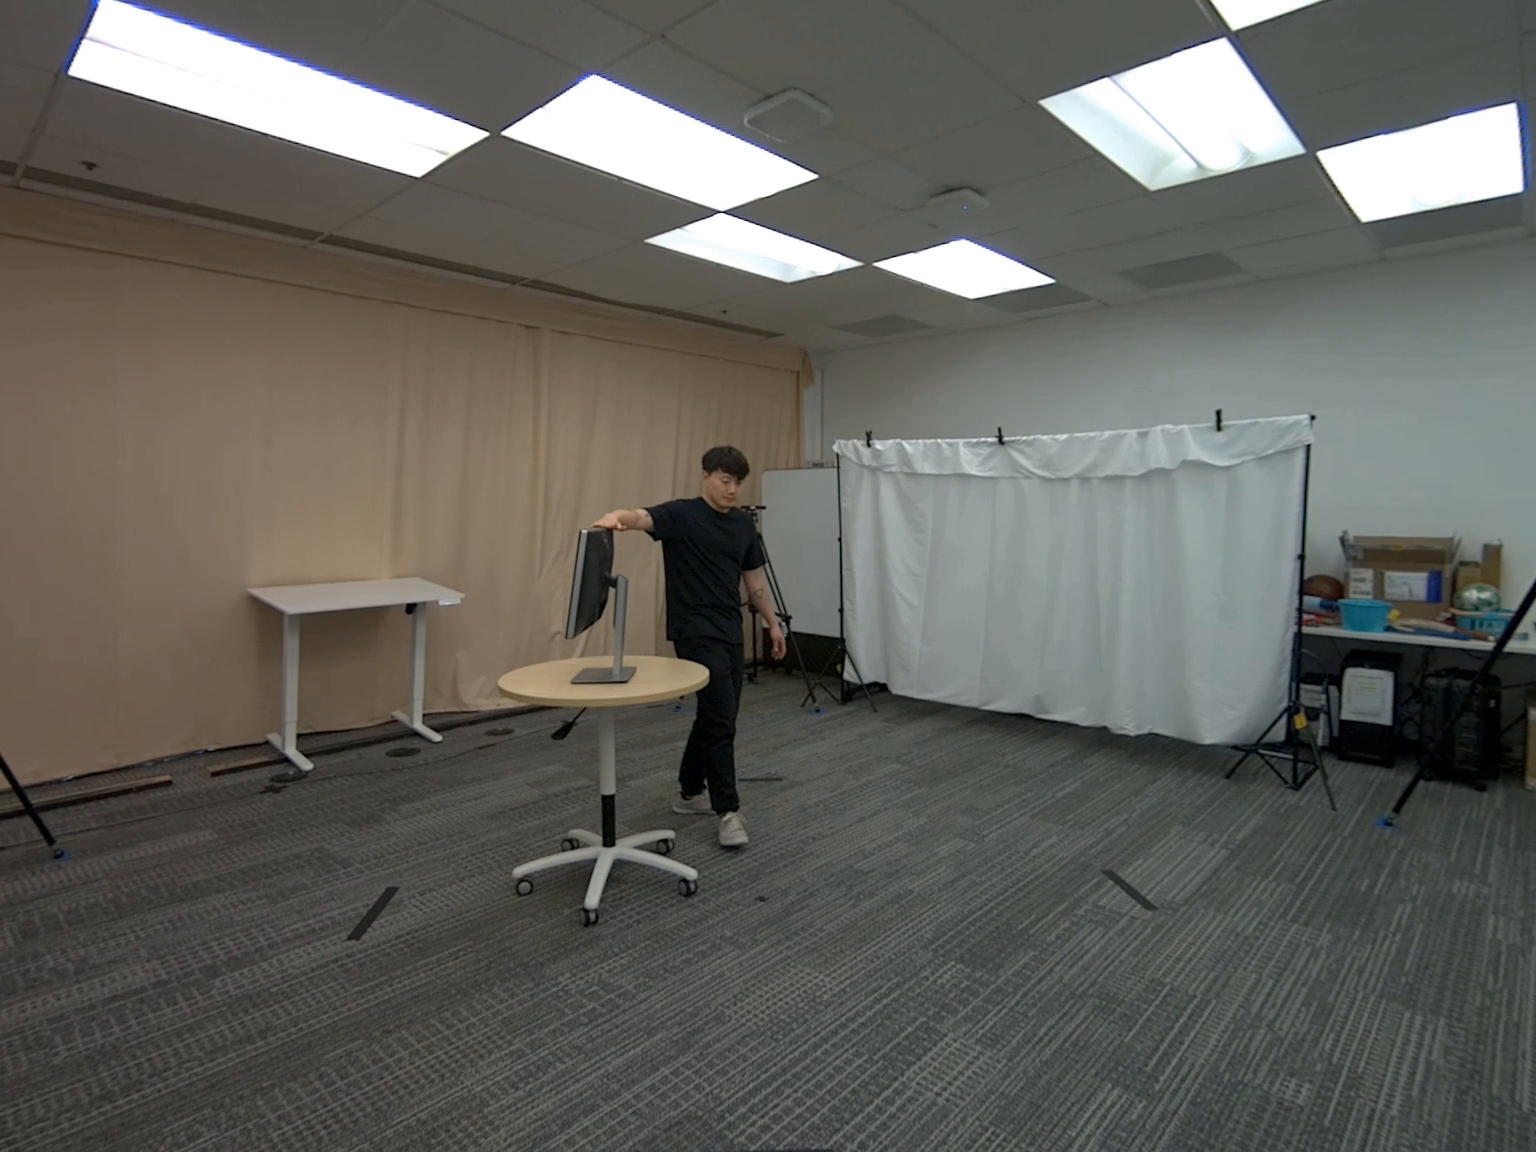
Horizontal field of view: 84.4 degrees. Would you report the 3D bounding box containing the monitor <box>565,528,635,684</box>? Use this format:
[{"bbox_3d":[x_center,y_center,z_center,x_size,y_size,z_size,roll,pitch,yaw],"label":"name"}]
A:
[{"bbox_3d":[-0.595,0.105,3.033,0.187,0.521,0.541,-2,4,-2],"label":"monitor"}]
